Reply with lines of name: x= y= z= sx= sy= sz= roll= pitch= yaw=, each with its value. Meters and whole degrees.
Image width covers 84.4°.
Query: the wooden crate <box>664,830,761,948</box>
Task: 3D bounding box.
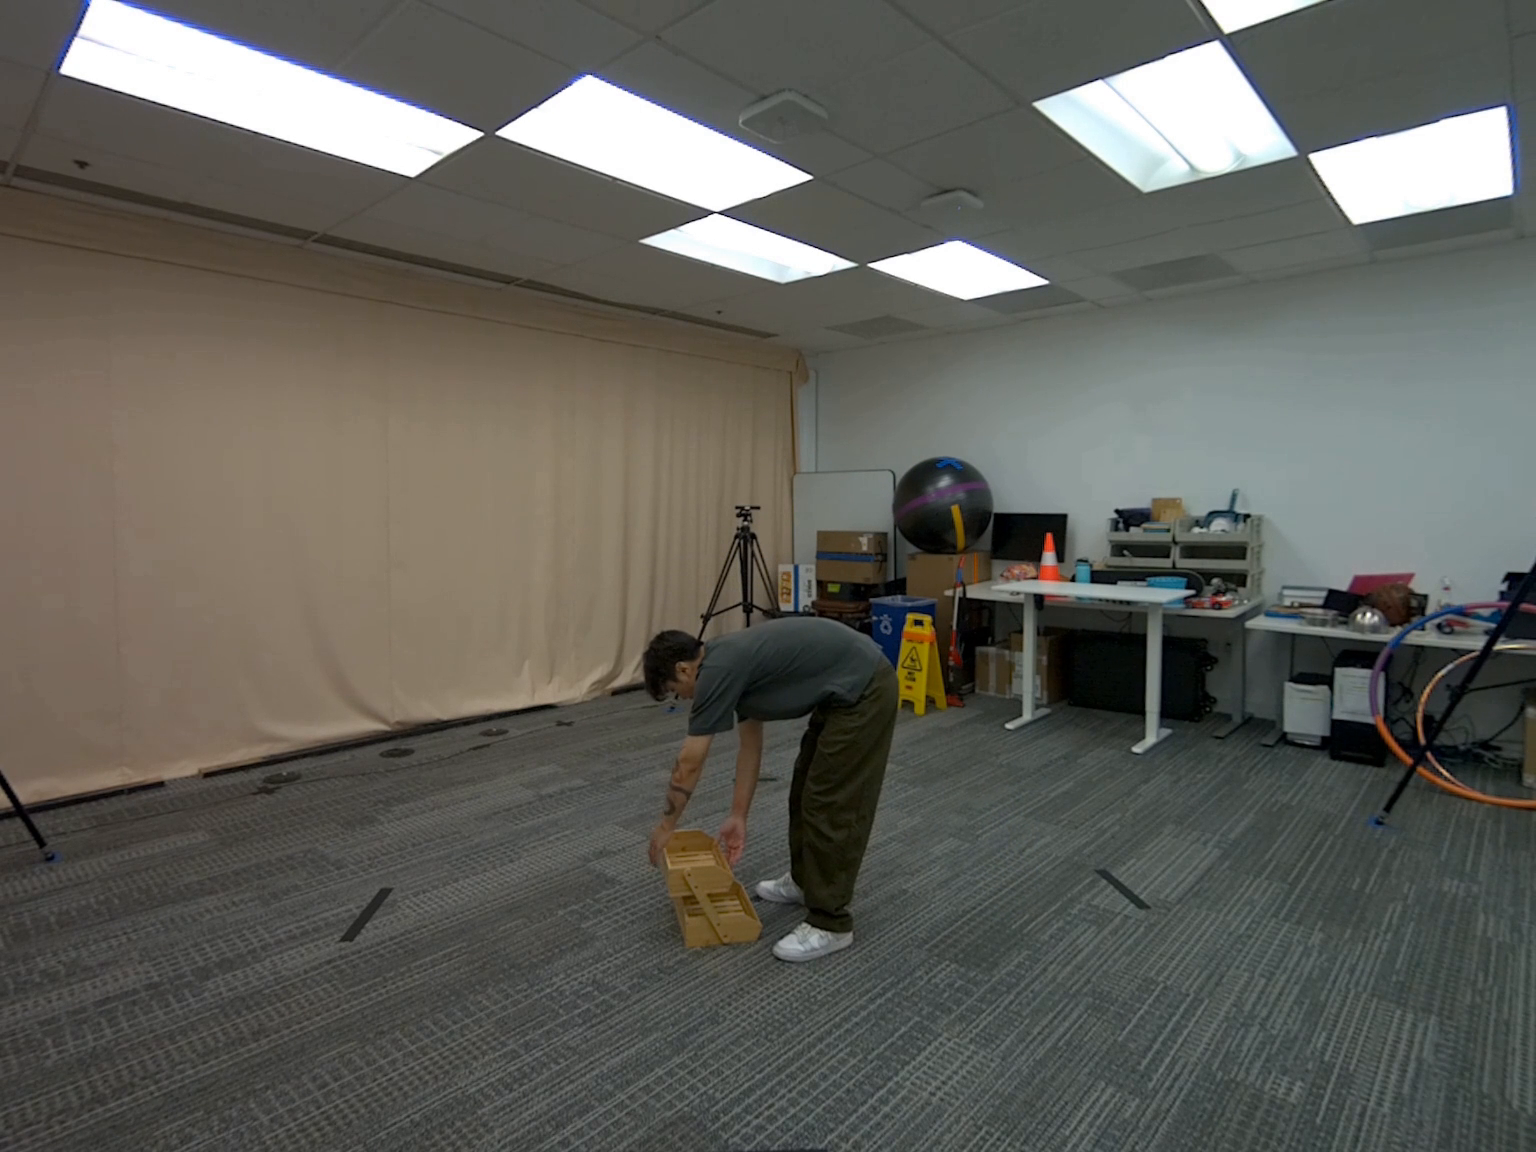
wooden crate: x=-0.200 y=1.032 z=2.811 sx=0.298 sy=0.272 sz=0.329 roll=-3 pitch=5 yaw=-12
